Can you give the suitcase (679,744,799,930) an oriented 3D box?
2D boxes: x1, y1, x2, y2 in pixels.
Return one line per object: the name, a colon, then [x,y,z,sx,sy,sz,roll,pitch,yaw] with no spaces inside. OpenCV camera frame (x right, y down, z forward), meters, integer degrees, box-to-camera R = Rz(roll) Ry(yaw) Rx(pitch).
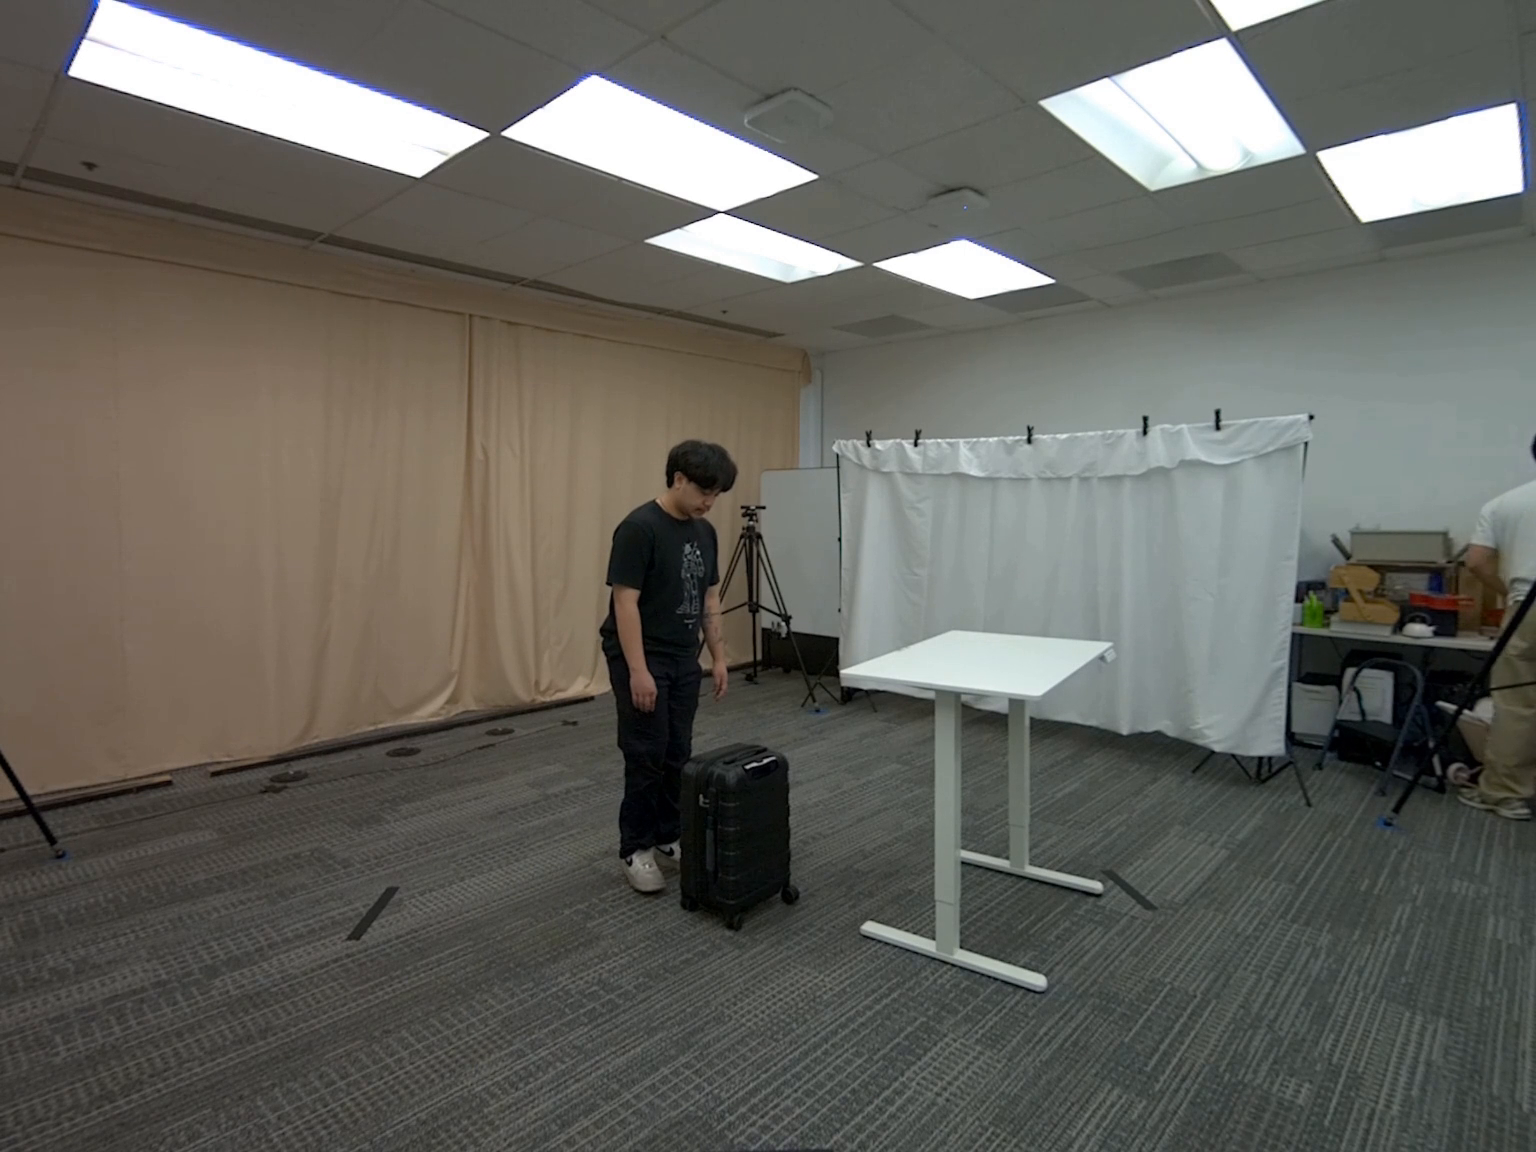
suitcase: [-0.107,0.876,2.915,0.256,0.548,0.364,3,5,41]
